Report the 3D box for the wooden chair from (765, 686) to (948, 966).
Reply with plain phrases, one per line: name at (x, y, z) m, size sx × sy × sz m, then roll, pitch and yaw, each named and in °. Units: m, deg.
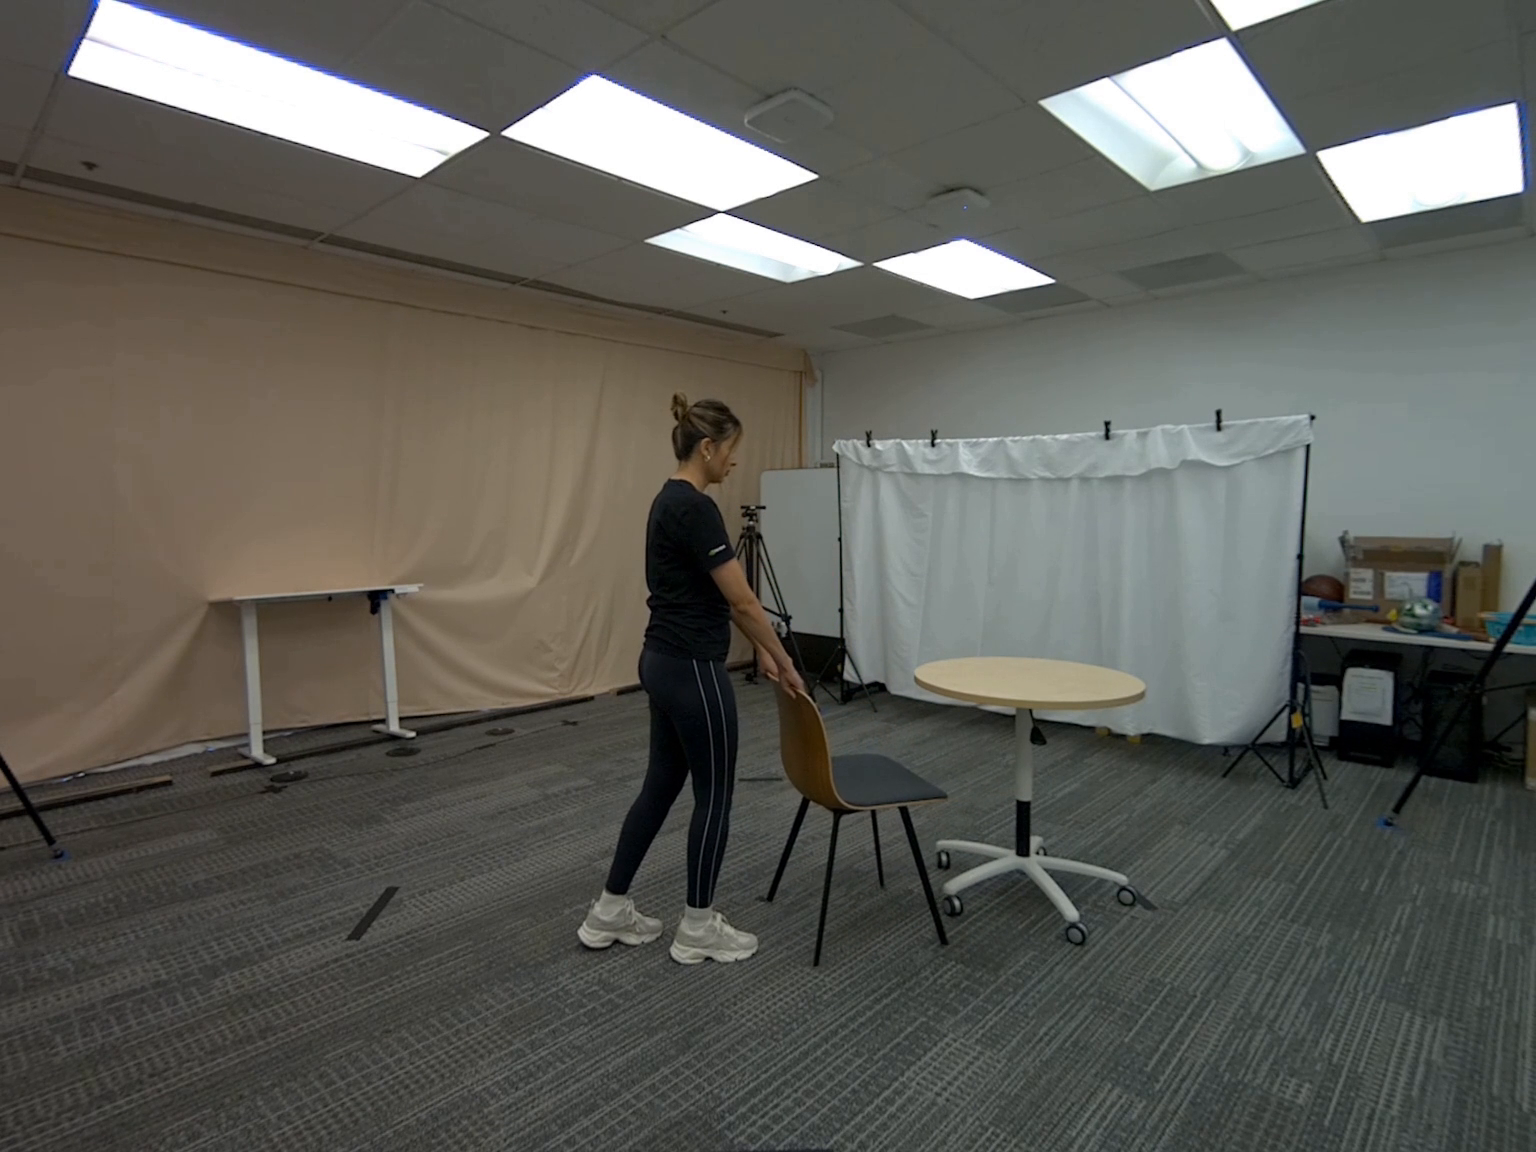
wooden chair at (0.293, 0.735, 2.789) m, size 0.515 × 0.875 × 0.487 m, roll -6°, pitch 4°, yaw -16°
